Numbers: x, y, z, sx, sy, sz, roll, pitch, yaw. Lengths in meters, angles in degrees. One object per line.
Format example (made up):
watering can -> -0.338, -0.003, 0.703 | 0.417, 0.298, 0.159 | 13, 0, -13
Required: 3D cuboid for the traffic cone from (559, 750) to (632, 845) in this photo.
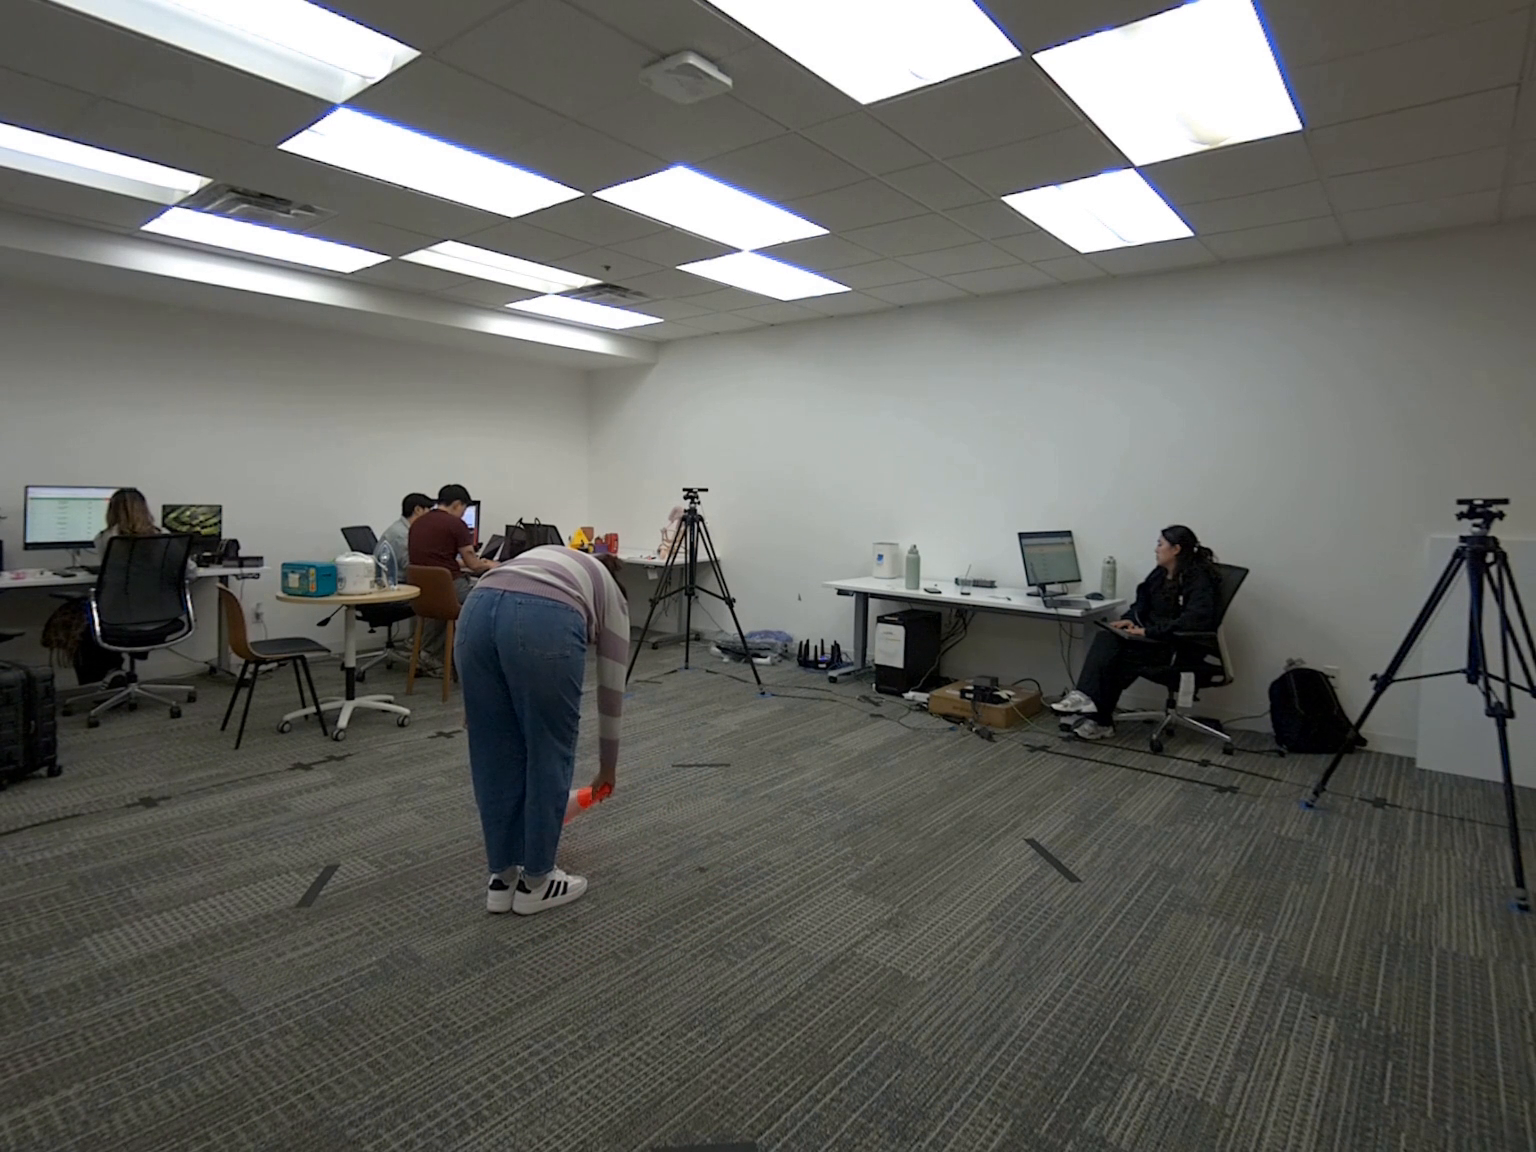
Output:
traffic cone -> -0.745, 0.844, 3.182 | 0.387, 0.212, 0.195 | -29, -34, 22
